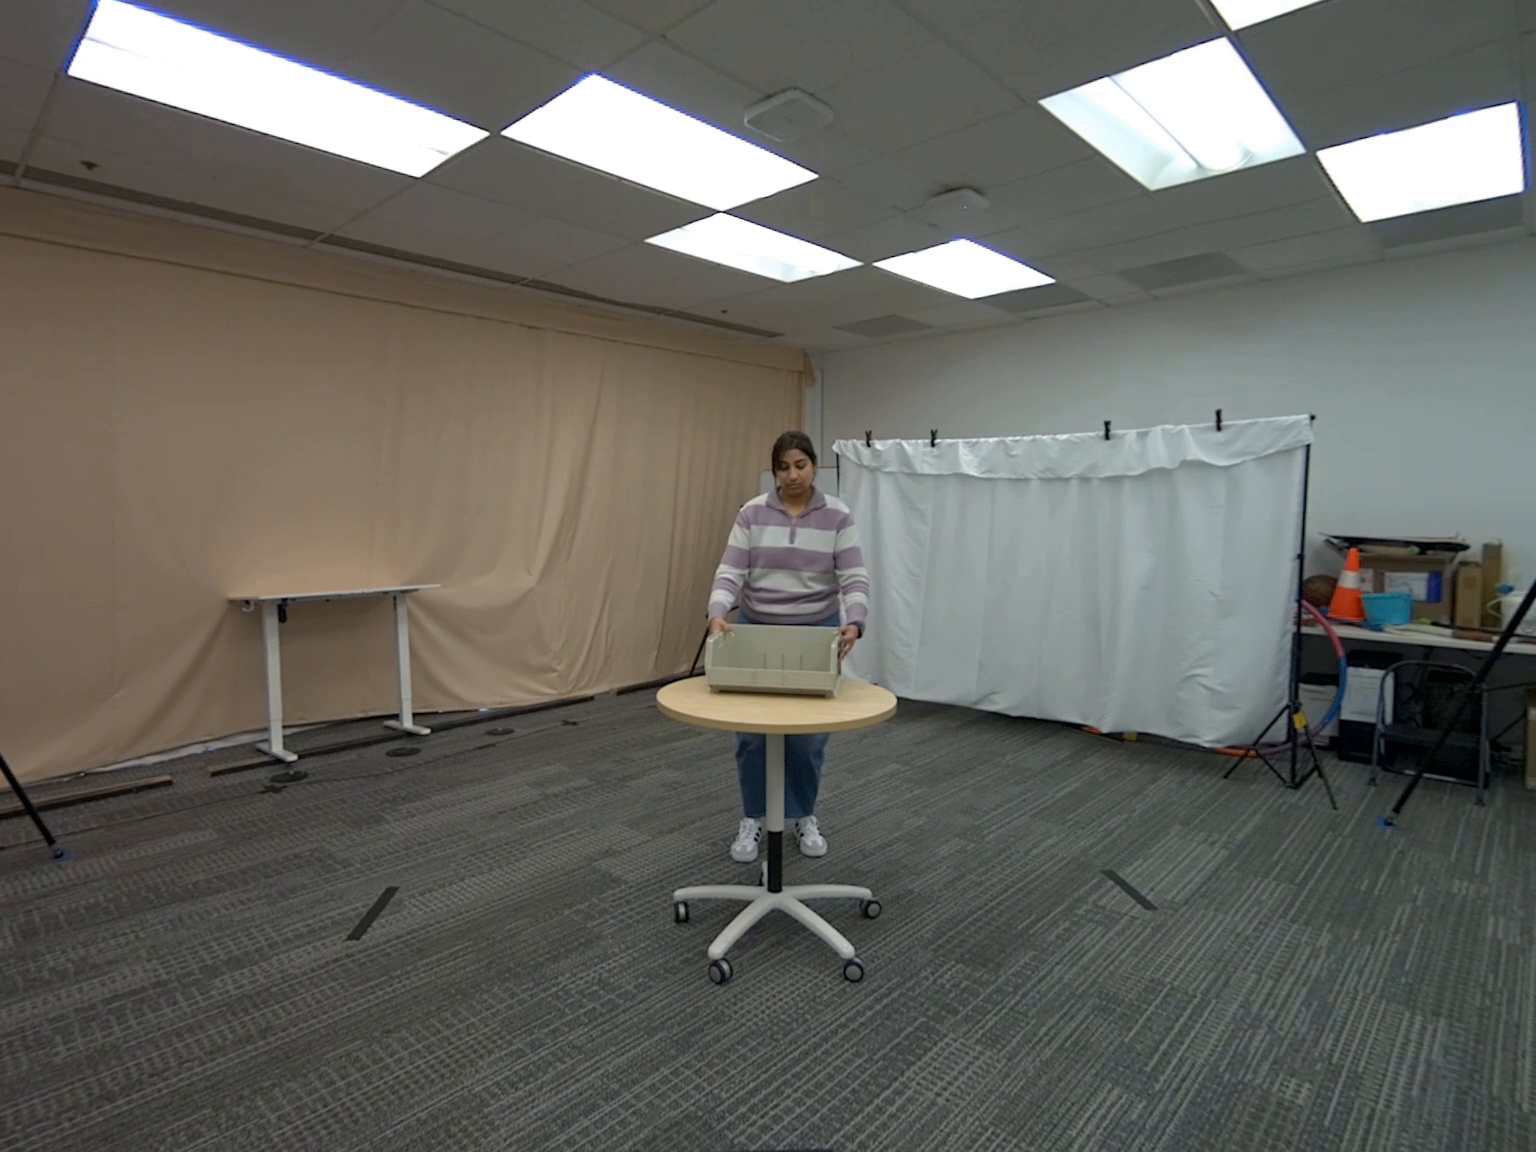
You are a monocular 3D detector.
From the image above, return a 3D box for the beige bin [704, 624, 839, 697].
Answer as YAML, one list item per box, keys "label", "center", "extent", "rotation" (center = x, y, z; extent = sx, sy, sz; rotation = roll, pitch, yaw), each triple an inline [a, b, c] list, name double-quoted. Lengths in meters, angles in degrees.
- label: "beige bin"
  center: [0.029, 0.283, 2.836]
  extent: [0.427, 0.188, 0.374]
  rotation: [1, 4, 9]
